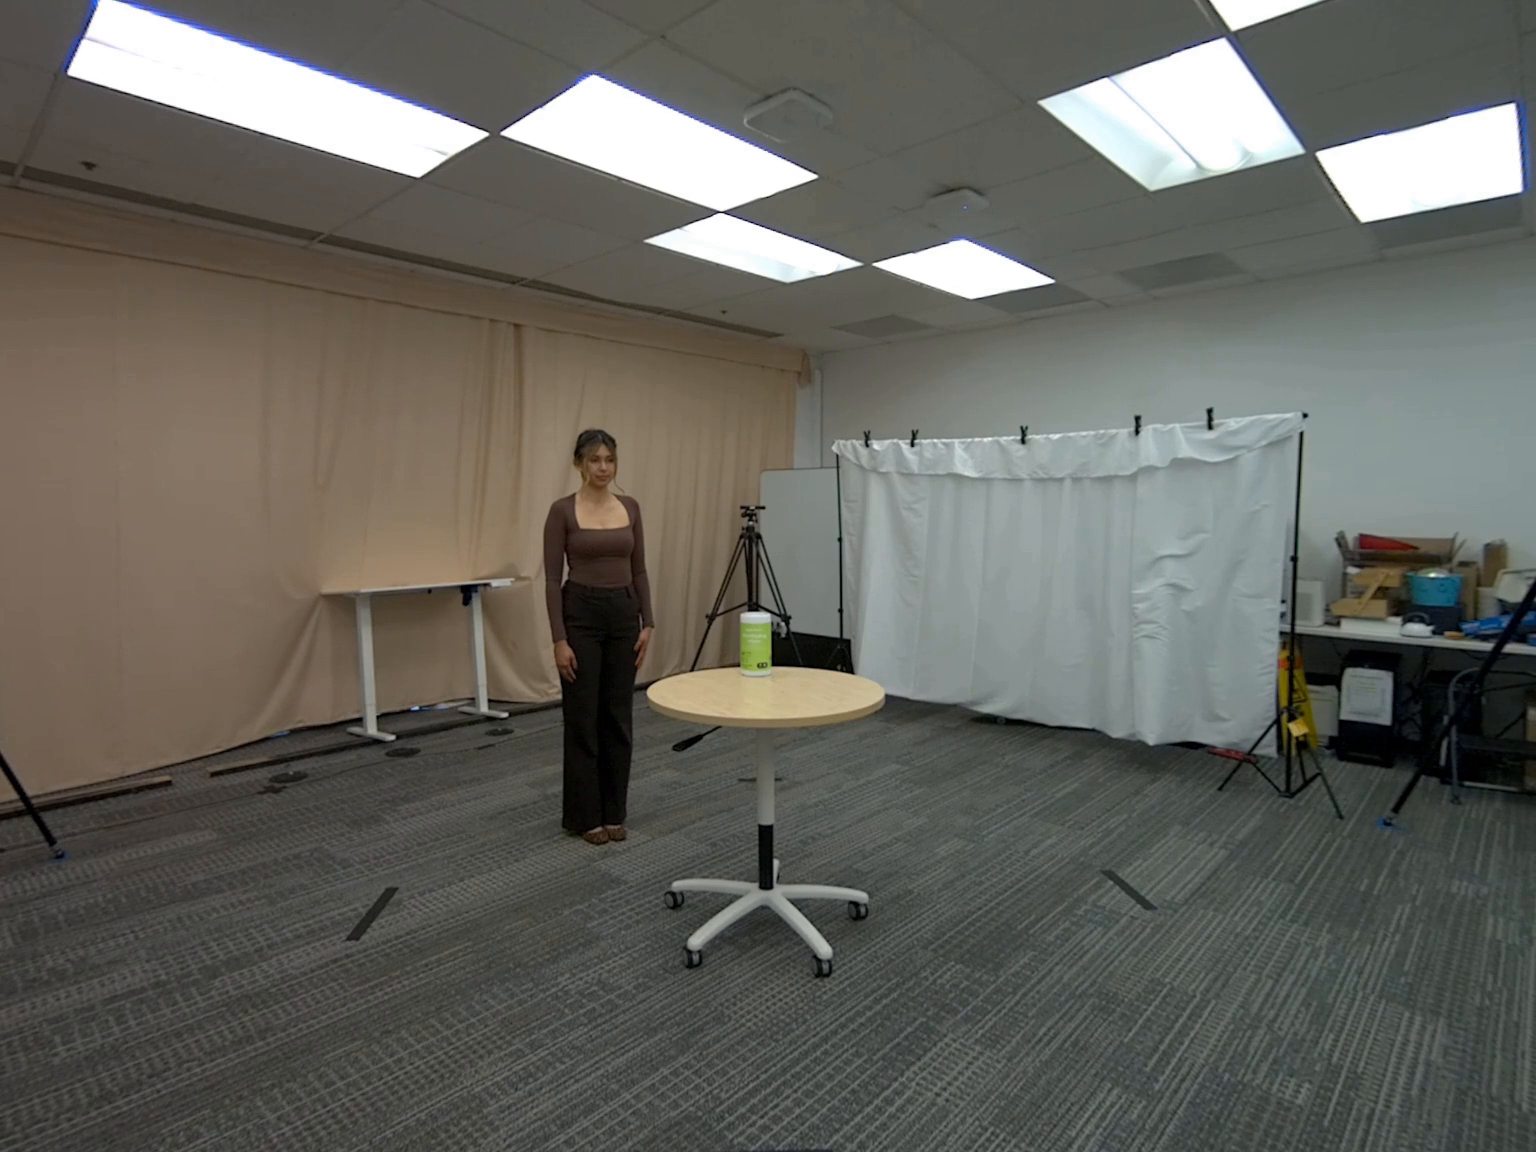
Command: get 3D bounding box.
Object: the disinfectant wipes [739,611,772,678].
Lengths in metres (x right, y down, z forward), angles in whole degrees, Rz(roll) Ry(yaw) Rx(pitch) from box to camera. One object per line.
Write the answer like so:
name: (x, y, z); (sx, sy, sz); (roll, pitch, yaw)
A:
disinfectant wipes: (-0.033, 0.242, 2.979); (0.118, 0.217, 0.118); (0, 3, -2)
